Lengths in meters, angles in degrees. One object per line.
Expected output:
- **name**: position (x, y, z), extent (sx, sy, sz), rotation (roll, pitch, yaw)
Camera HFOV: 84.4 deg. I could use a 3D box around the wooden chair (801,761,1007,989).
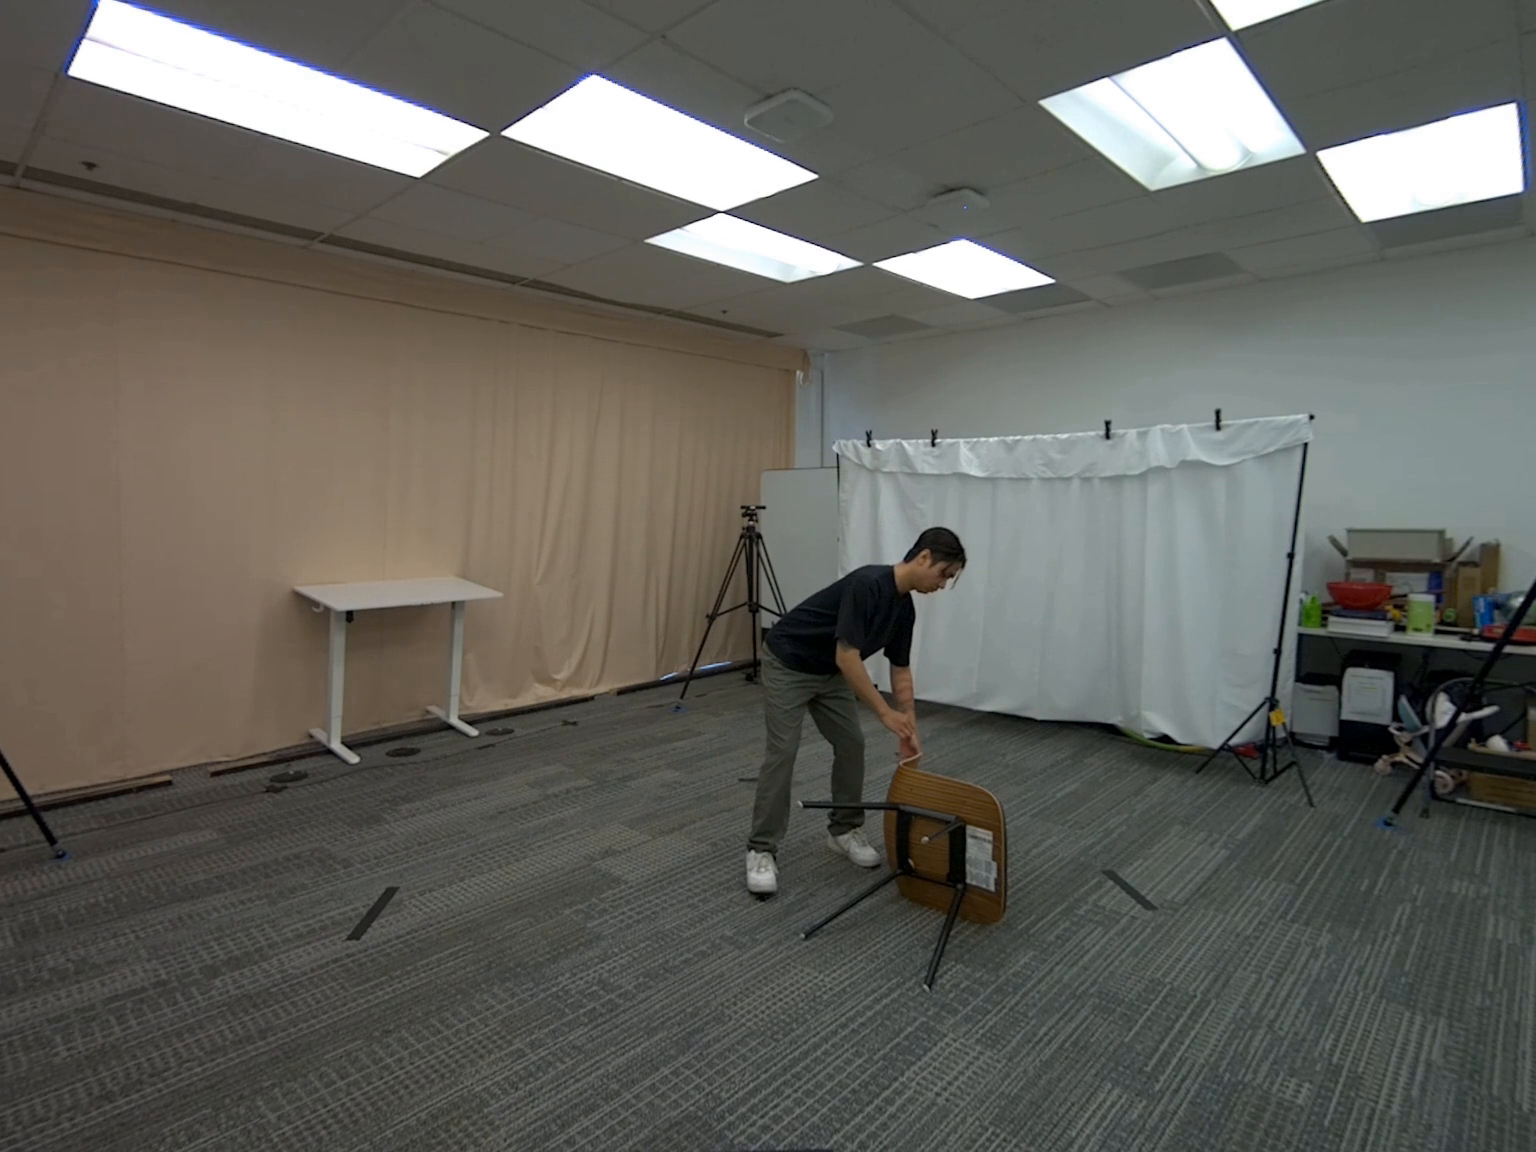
- **wooden chair**: position (0.548, 0.918, 2.856), extent (0.540, 0.477, 0.852), rotation (2, 5, 35)
